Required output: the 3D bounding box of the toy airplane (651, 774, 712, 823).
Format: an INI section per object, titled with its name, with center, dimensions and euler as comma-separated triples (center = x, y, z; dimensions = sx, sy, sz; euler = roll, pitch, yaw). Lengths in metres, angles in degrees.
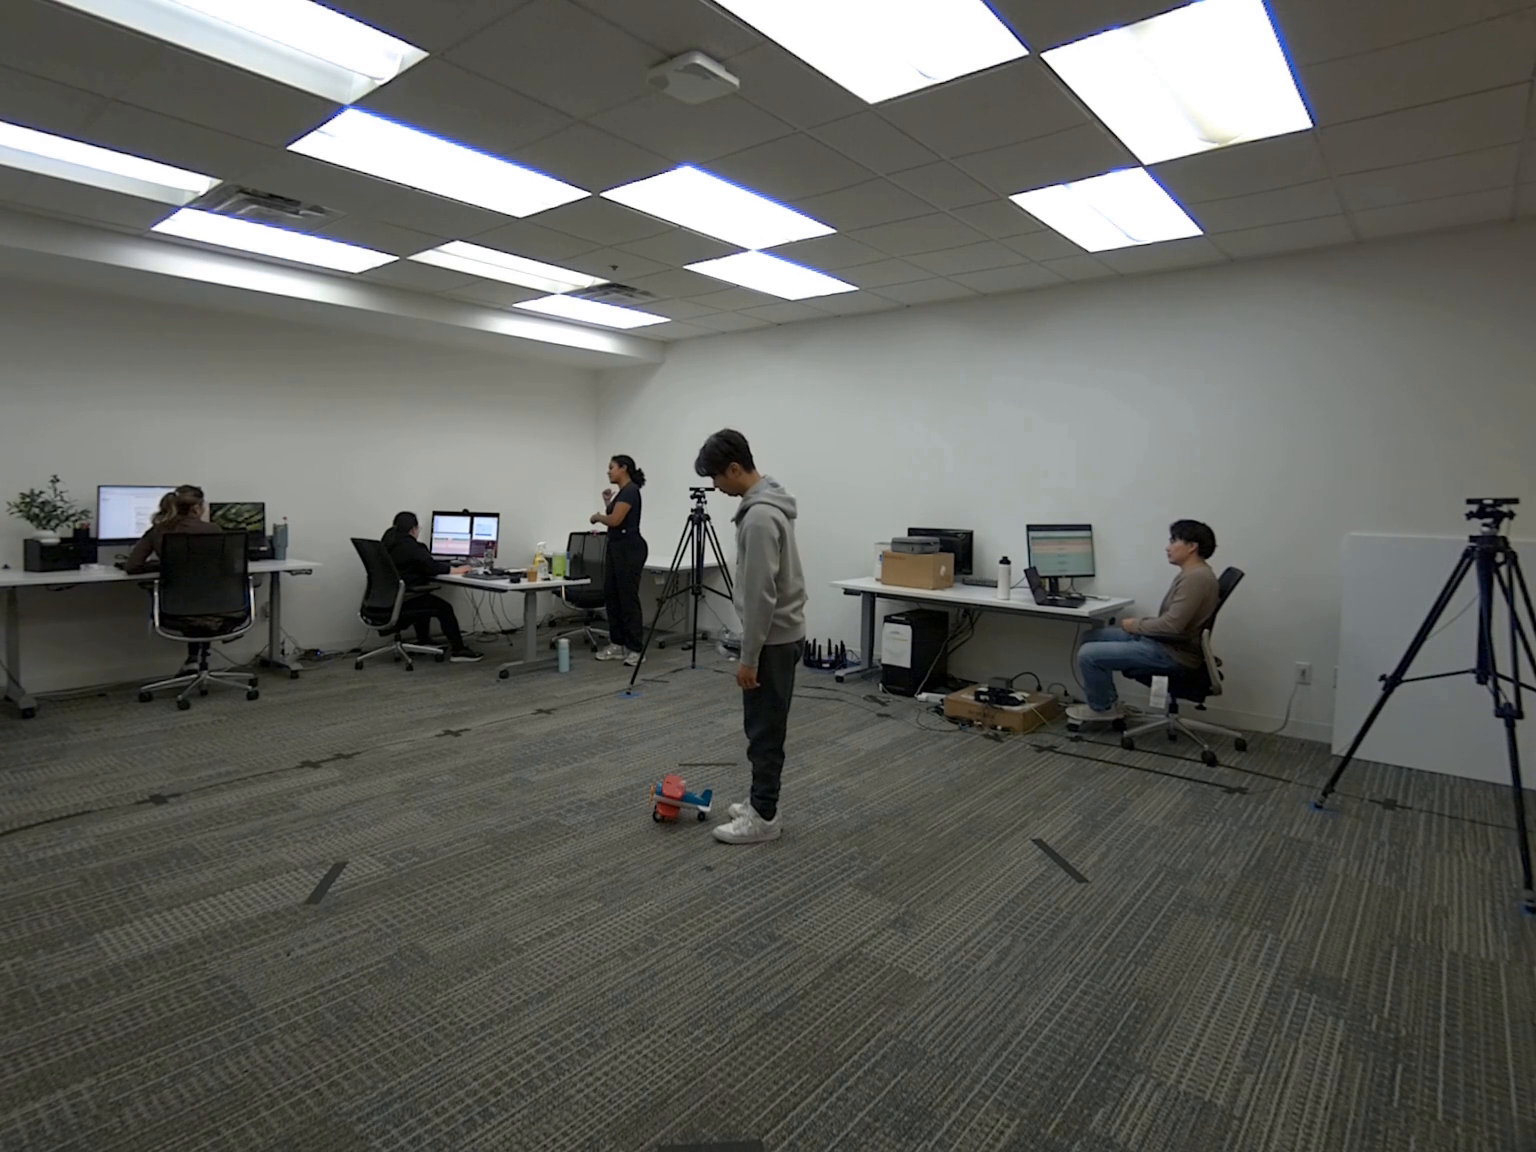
[toy airplane]
center = -0.383, 0.944, 3.603
dimensions = 0.252, 0.156, 0.259
euler = -2, 6, -30
